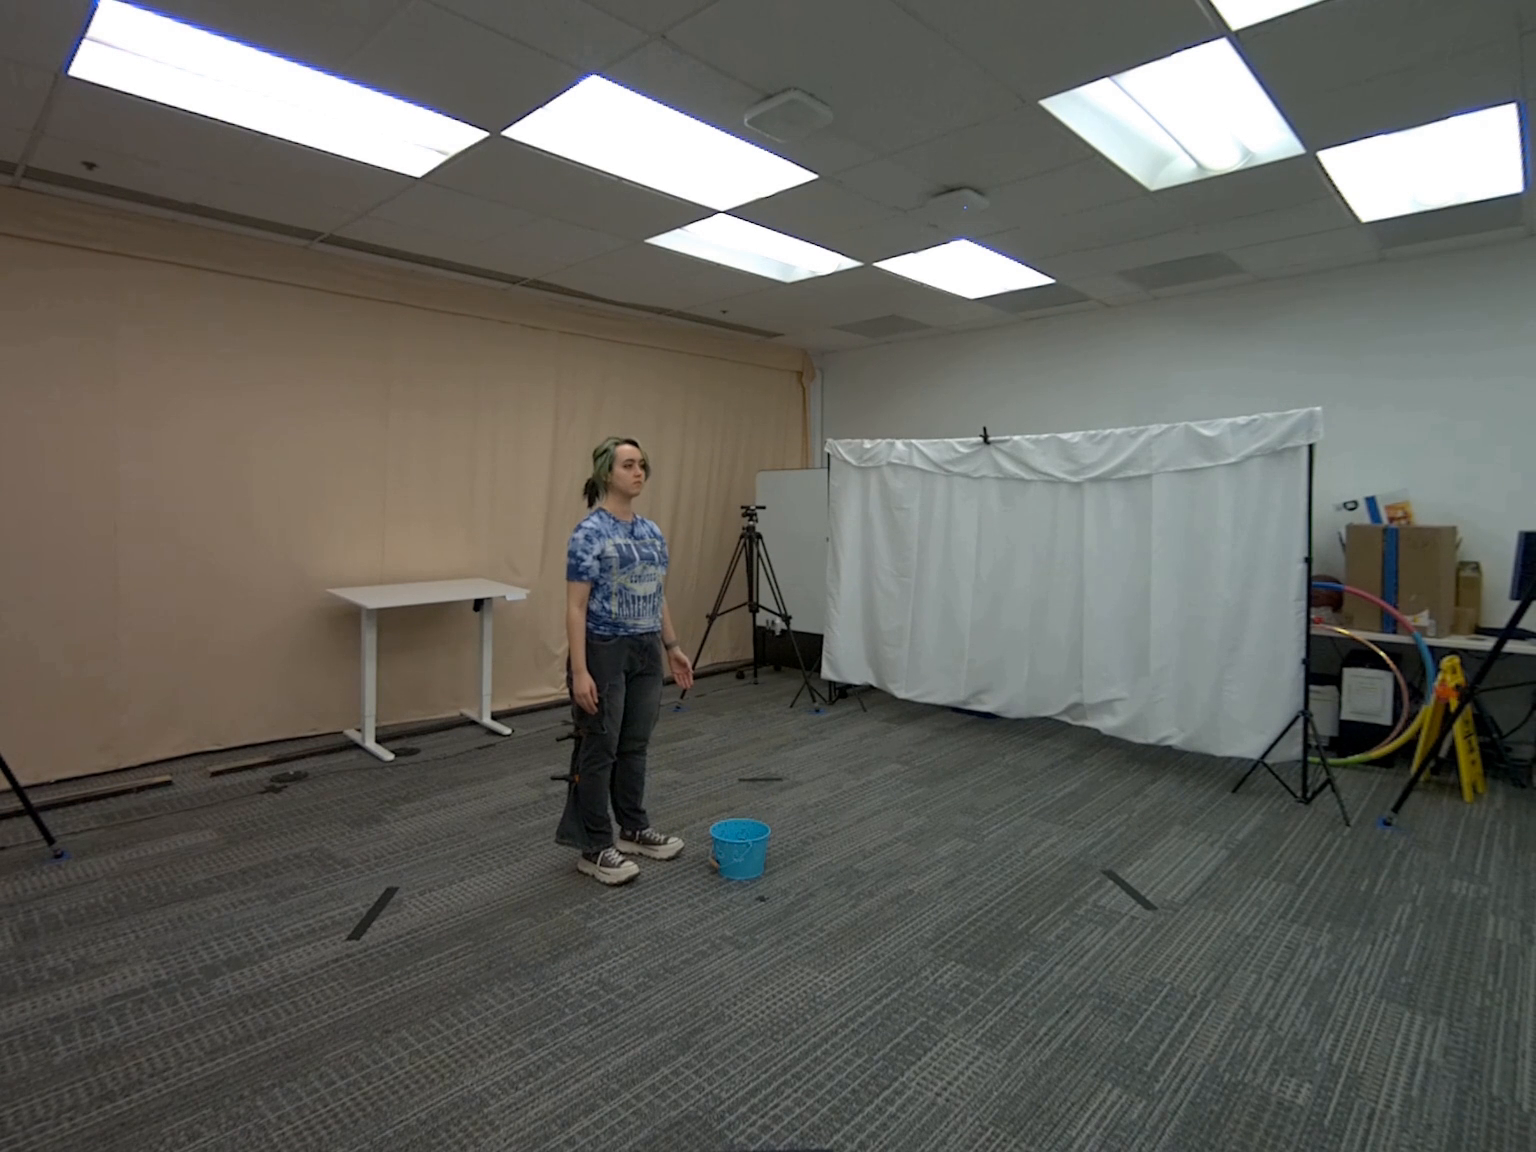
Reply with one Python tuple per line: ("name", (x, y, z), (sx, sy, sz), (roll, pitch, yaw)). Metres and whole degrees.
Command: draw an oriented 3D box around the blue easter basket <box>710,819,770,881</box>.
("blue easter basket", (-0.106, 1.044, 3.229), (0.243, 0.155, 0.244), (1, 5, -2))
